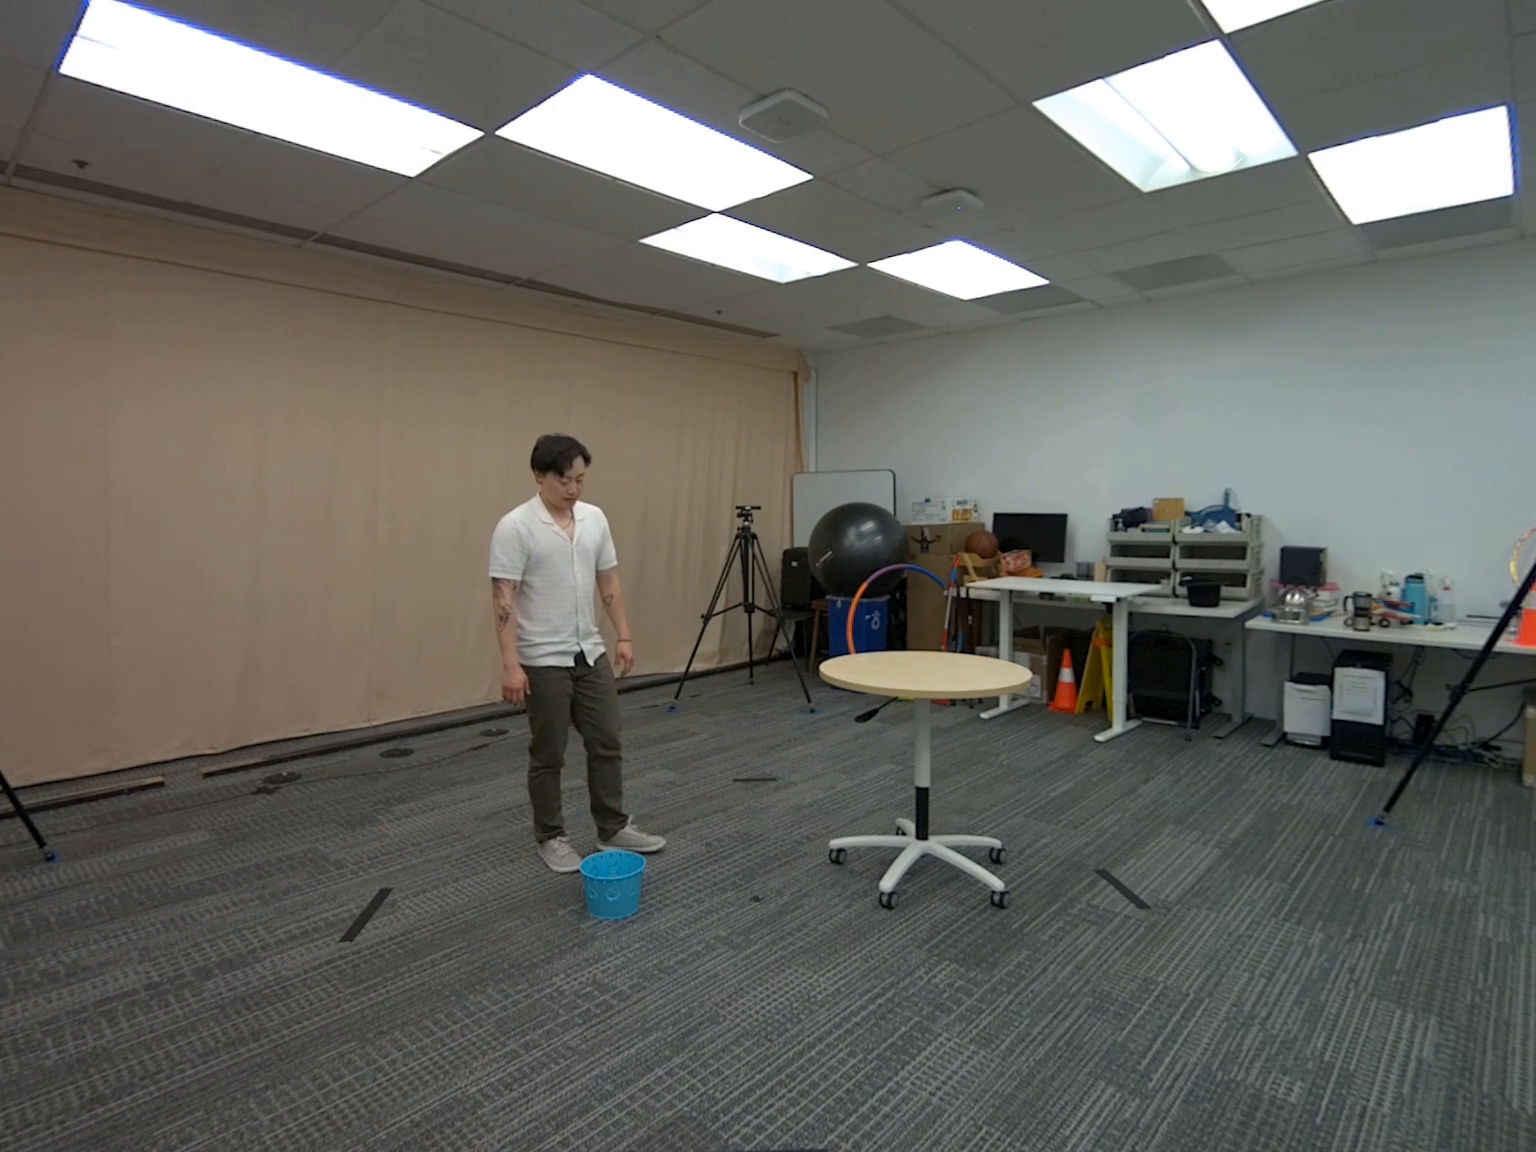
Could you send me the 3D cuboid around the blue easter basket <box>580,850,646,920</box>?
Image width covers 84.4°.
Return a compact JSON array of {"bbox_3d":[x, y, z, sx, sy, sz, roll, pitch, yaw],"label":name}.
[{"bbox_3d":[-0.532,1.076,2.926,0.243,0.155,0.244,0,5,-2],"label":"blue easter basket"}]
